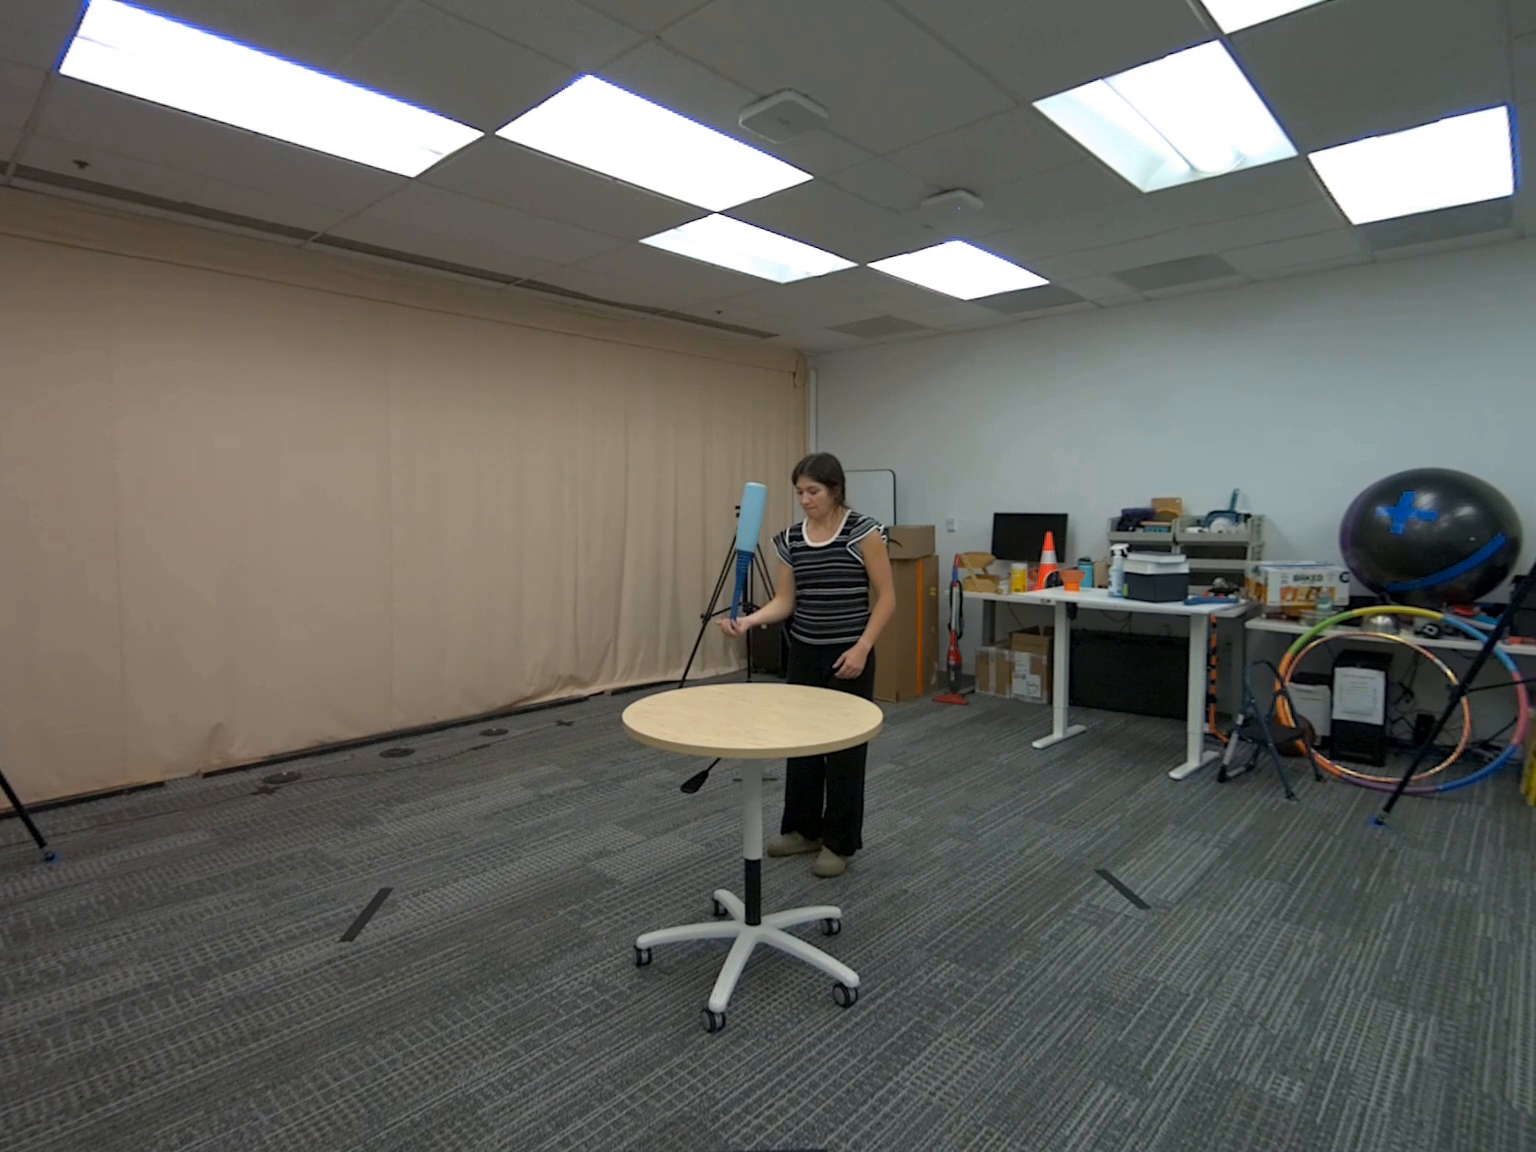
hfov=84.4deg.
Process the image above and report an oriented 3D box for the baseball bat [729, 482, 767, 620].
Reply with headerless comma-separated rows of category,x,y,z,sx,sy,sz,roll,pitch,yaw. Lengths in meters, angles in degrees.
baseball bat,-0.071,-0.067,3.093,0.089,0.543,0.089,8,0,-2
